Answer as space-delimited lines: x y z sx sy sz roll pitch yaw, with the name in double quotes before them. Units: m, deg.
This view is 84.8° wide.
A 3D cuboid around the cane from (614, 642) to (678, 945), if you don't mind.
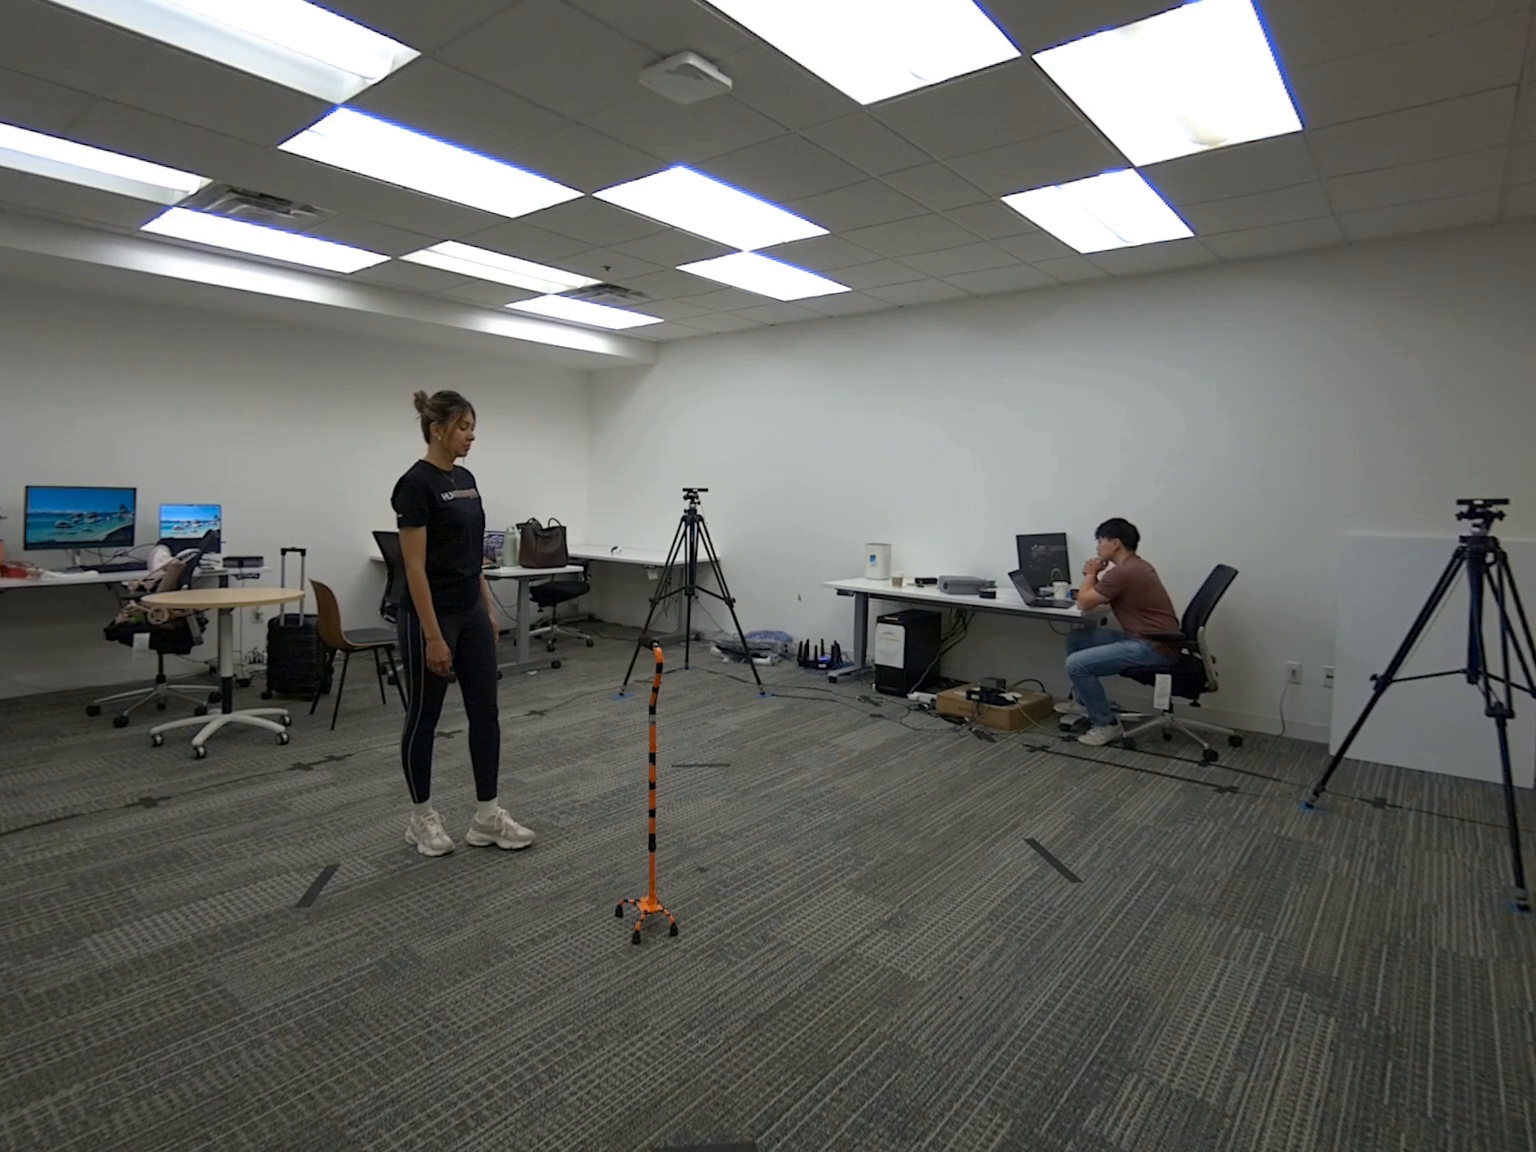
"cane" -0.389 0.656 2.678 0.148 0.906 0.212 1 3 -24
